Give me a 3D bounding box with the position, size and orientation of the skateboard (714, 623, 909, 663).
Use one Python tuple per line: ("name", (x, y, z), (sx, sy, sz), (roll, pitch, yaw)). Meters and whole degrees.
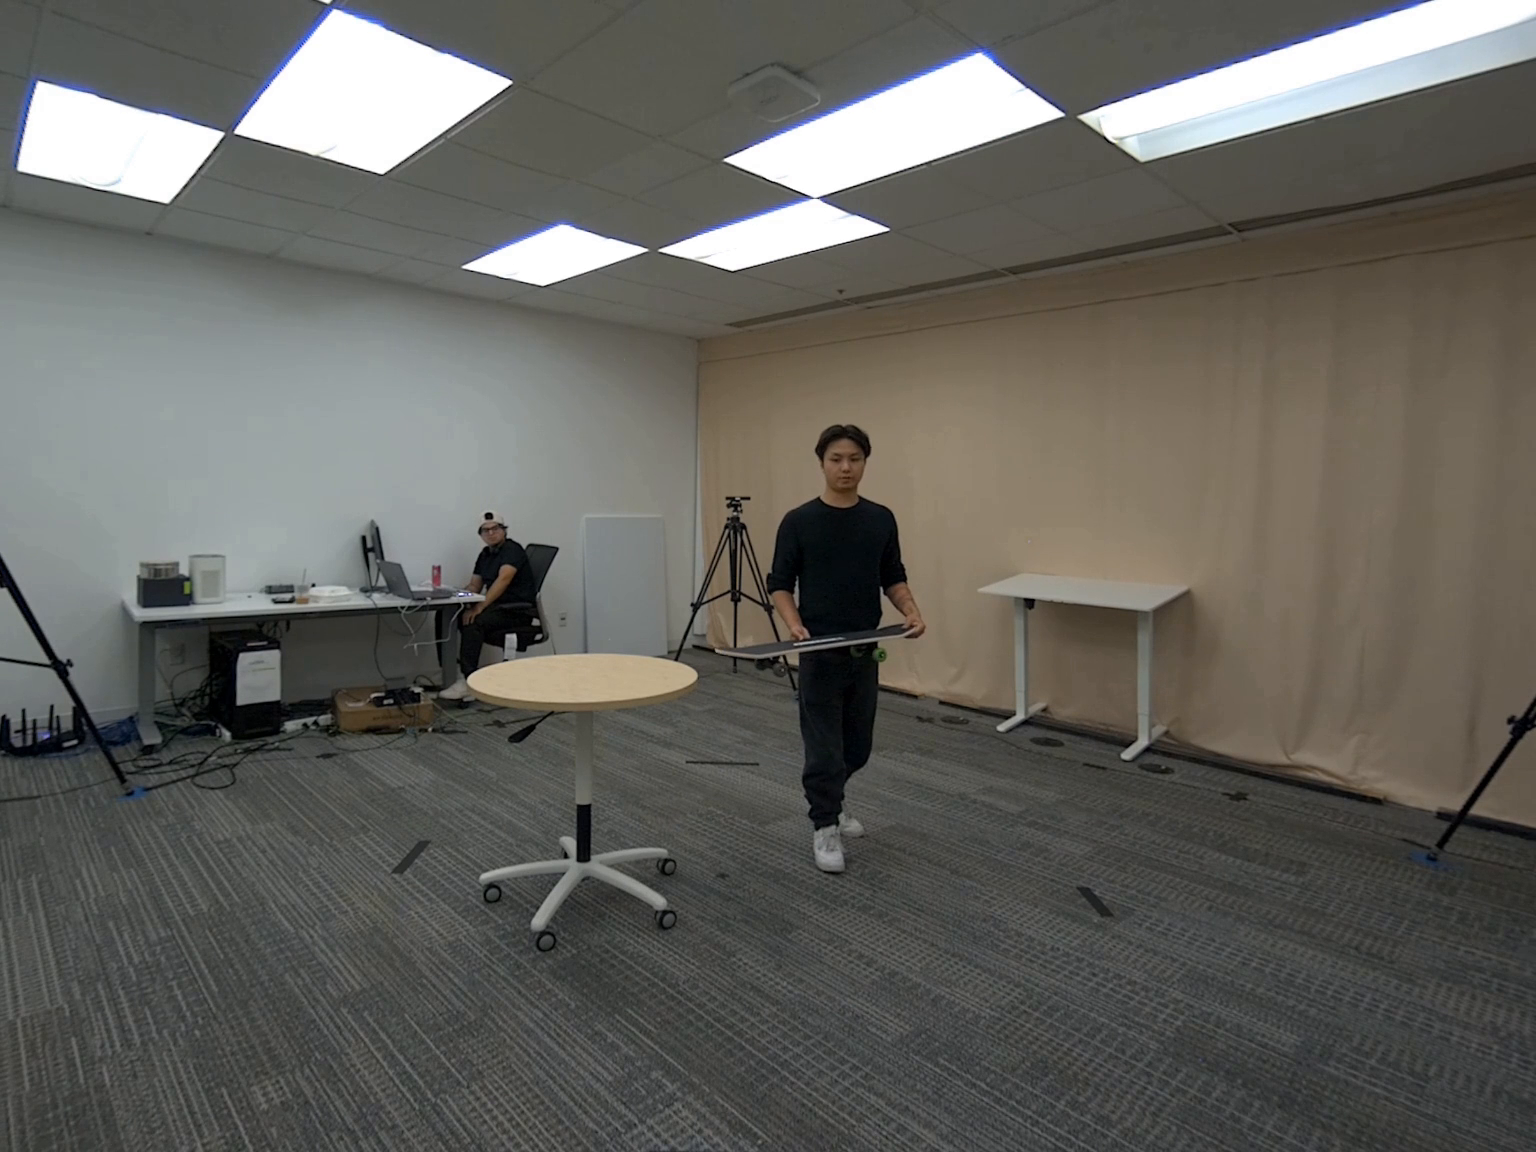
("skateboard", (0.171, 0.273, 3.017), (0.773, 0.110, 0.197), (-6, 6, -24))
